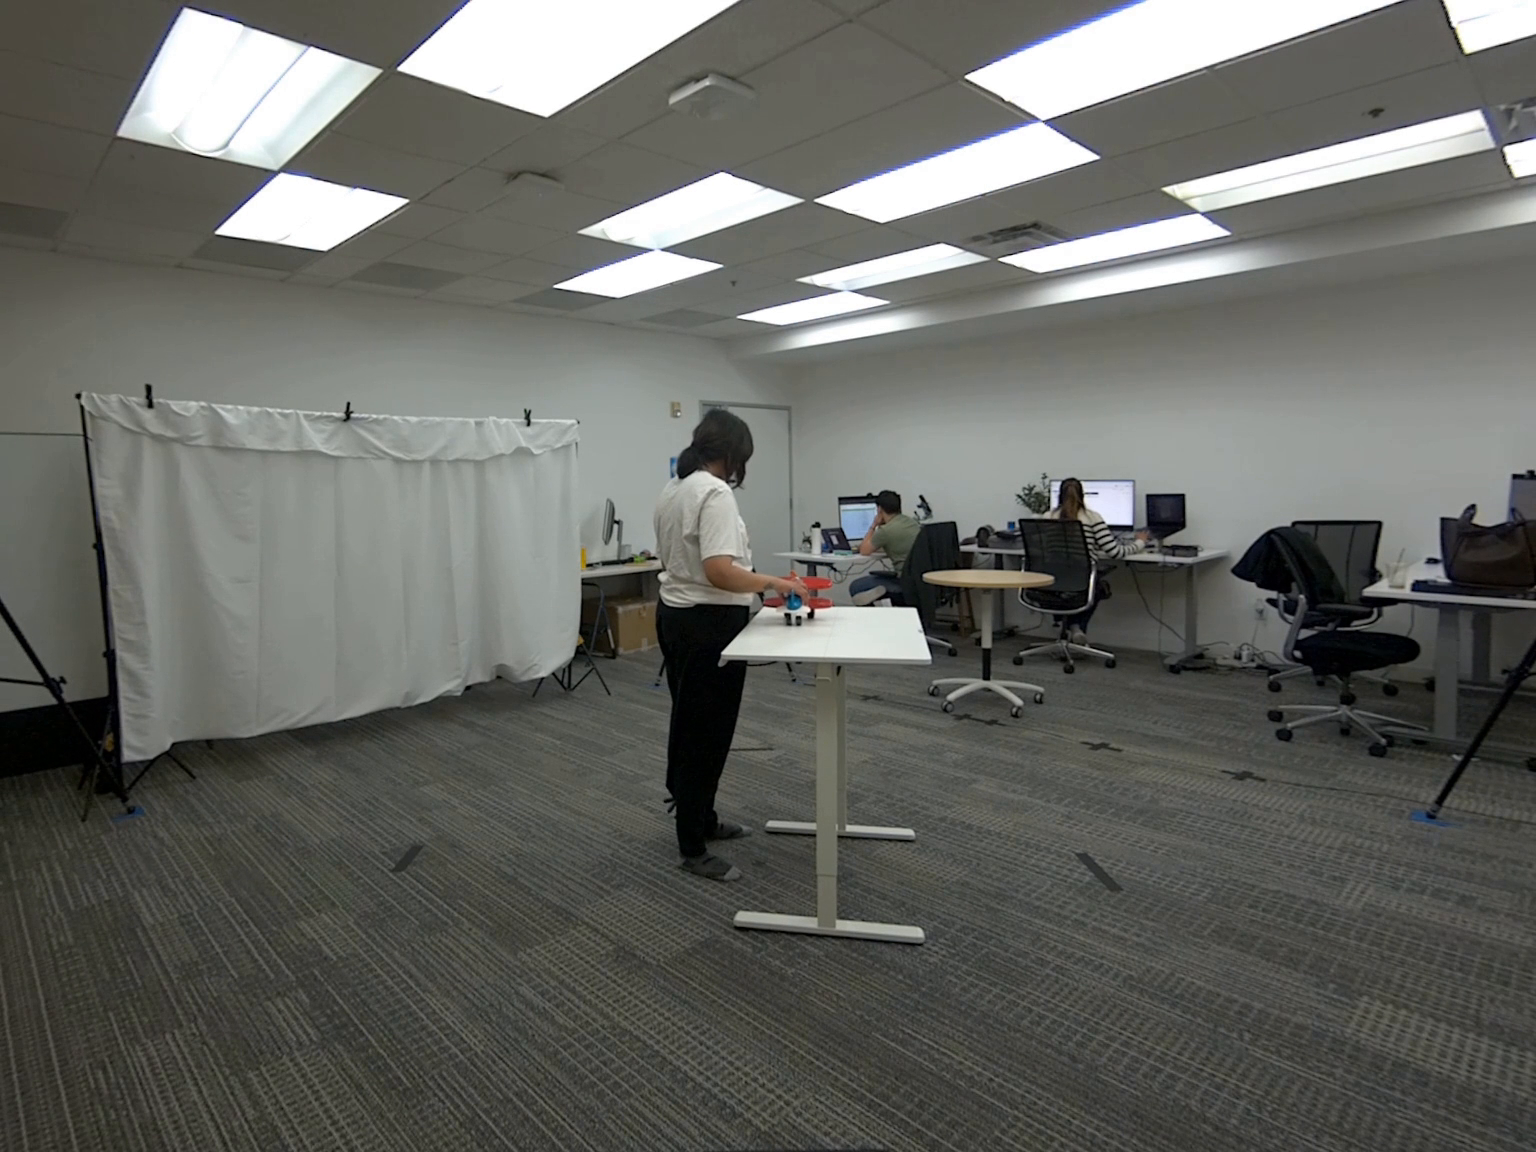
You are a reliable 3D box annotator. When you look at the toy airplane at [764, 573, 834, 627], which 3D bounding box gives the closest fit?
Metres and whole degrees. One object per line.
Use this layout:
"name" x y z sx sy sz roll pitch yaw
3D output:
"toy airplane" 0.125 0.085 3.086 0.247 0.156 0.264 -2 5 -18
